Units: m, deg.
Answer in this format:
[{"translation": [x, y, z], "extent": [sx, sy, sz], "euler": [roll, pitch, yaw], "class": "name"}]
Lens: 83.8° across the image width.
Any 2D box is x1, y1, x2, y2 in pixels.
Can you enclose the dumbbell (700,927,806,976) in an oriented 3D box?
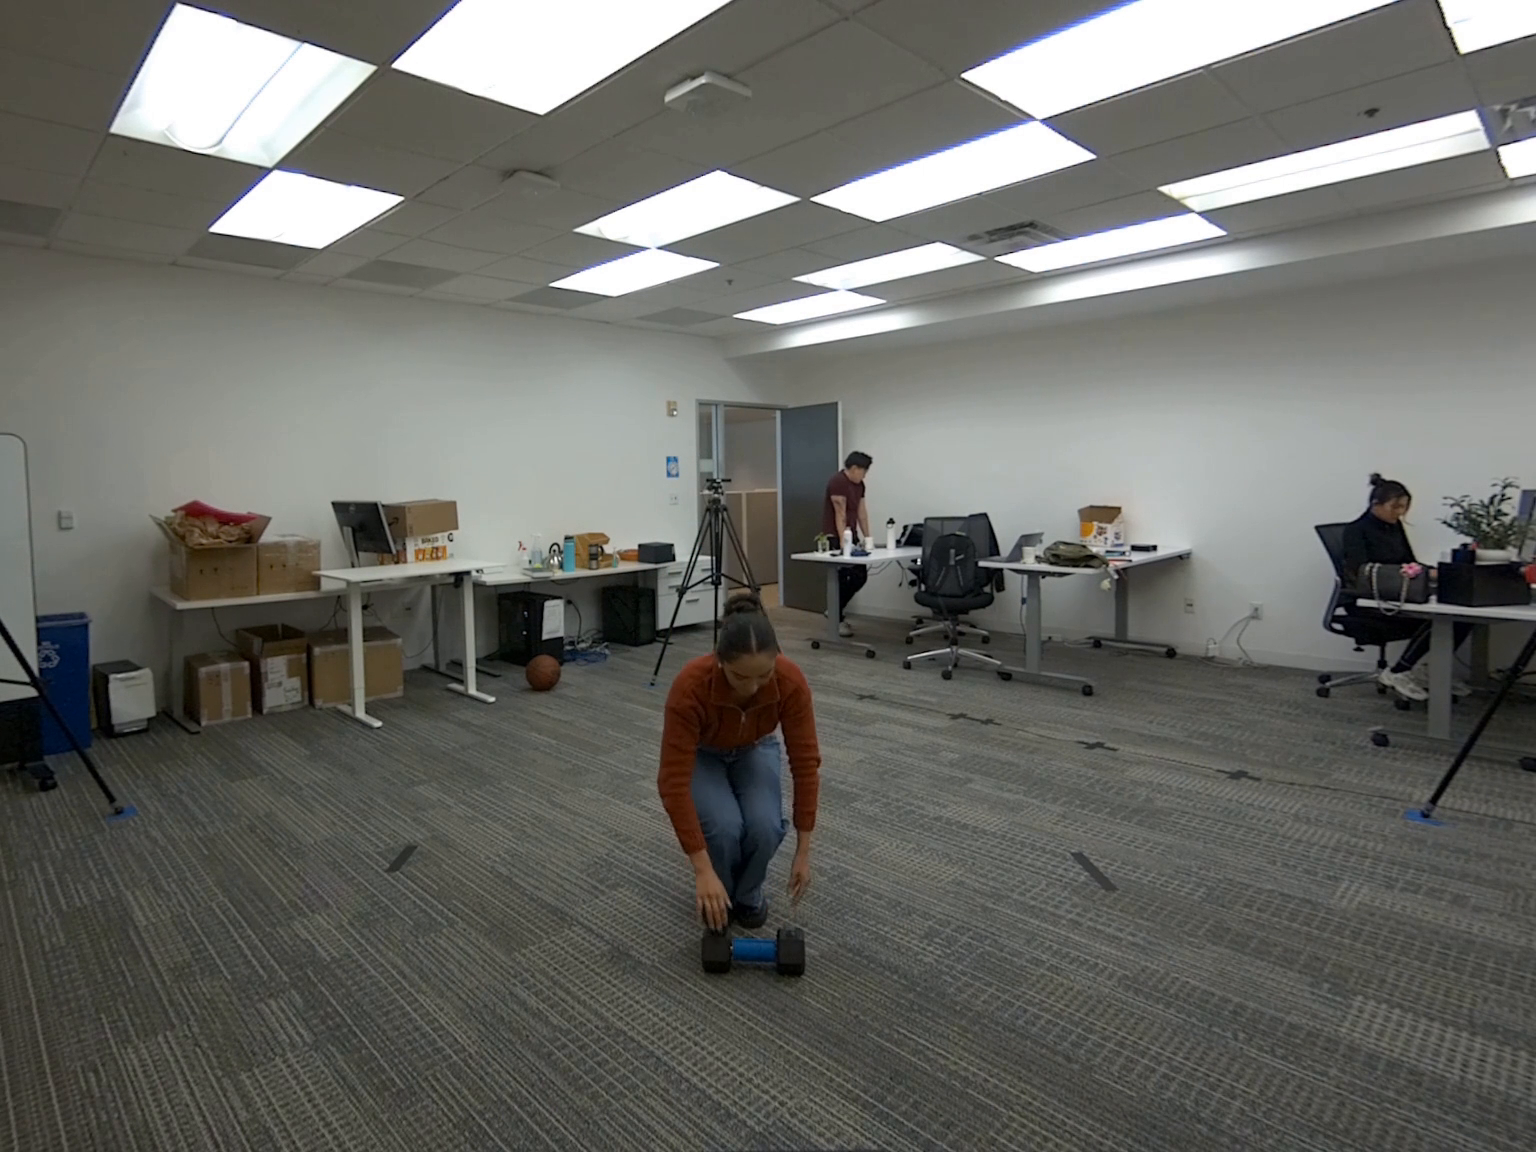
[{"translation": [-0.041, 1.072, 2.440], "extent": [0.295, 0.125, 0.106], "euler": [-1, -26, 5], "class": "dumbbell"}]
